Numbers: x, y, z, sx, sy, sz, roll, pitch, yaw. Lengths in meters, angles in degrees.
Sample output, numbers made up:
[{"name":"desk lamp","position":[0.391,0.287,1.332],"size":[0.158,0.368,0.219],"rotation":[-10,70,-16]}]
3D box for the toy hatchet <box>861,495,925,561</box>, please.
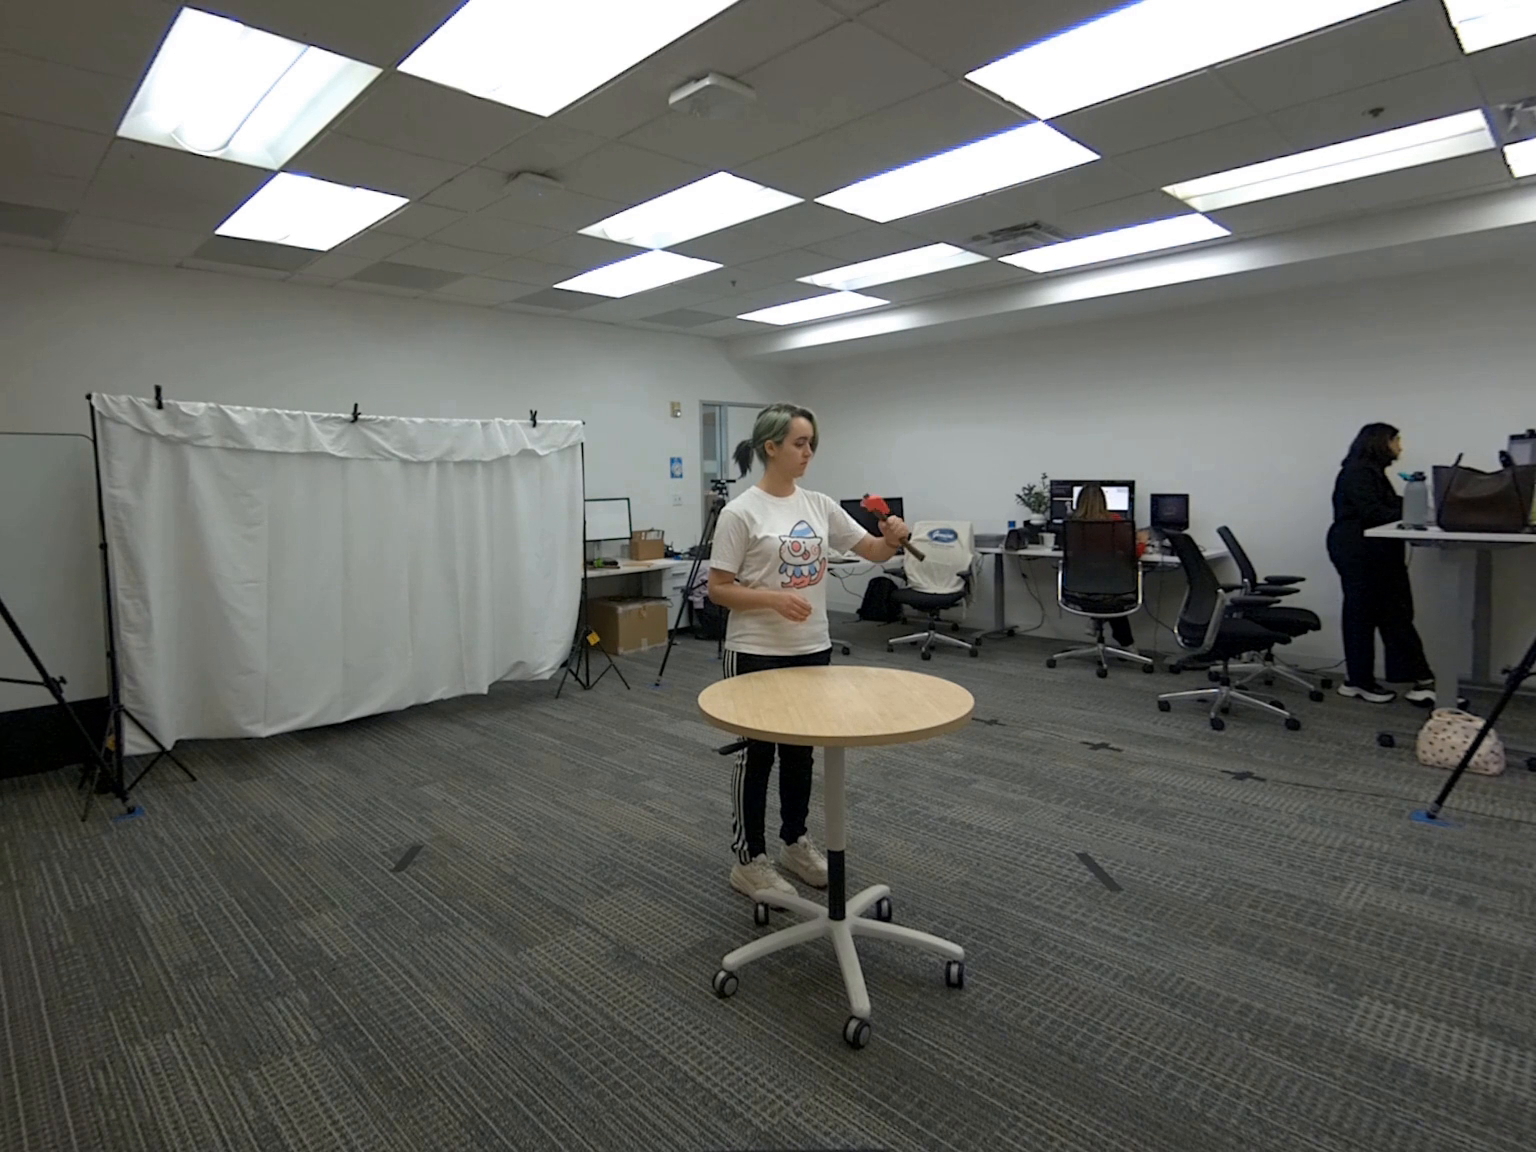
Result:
[{"name":"toy hatchet","position":[0.402,-0.159,2.663],"size":[0.029,0.274,0.129],"rotation":[-43,-12,-19]}]
